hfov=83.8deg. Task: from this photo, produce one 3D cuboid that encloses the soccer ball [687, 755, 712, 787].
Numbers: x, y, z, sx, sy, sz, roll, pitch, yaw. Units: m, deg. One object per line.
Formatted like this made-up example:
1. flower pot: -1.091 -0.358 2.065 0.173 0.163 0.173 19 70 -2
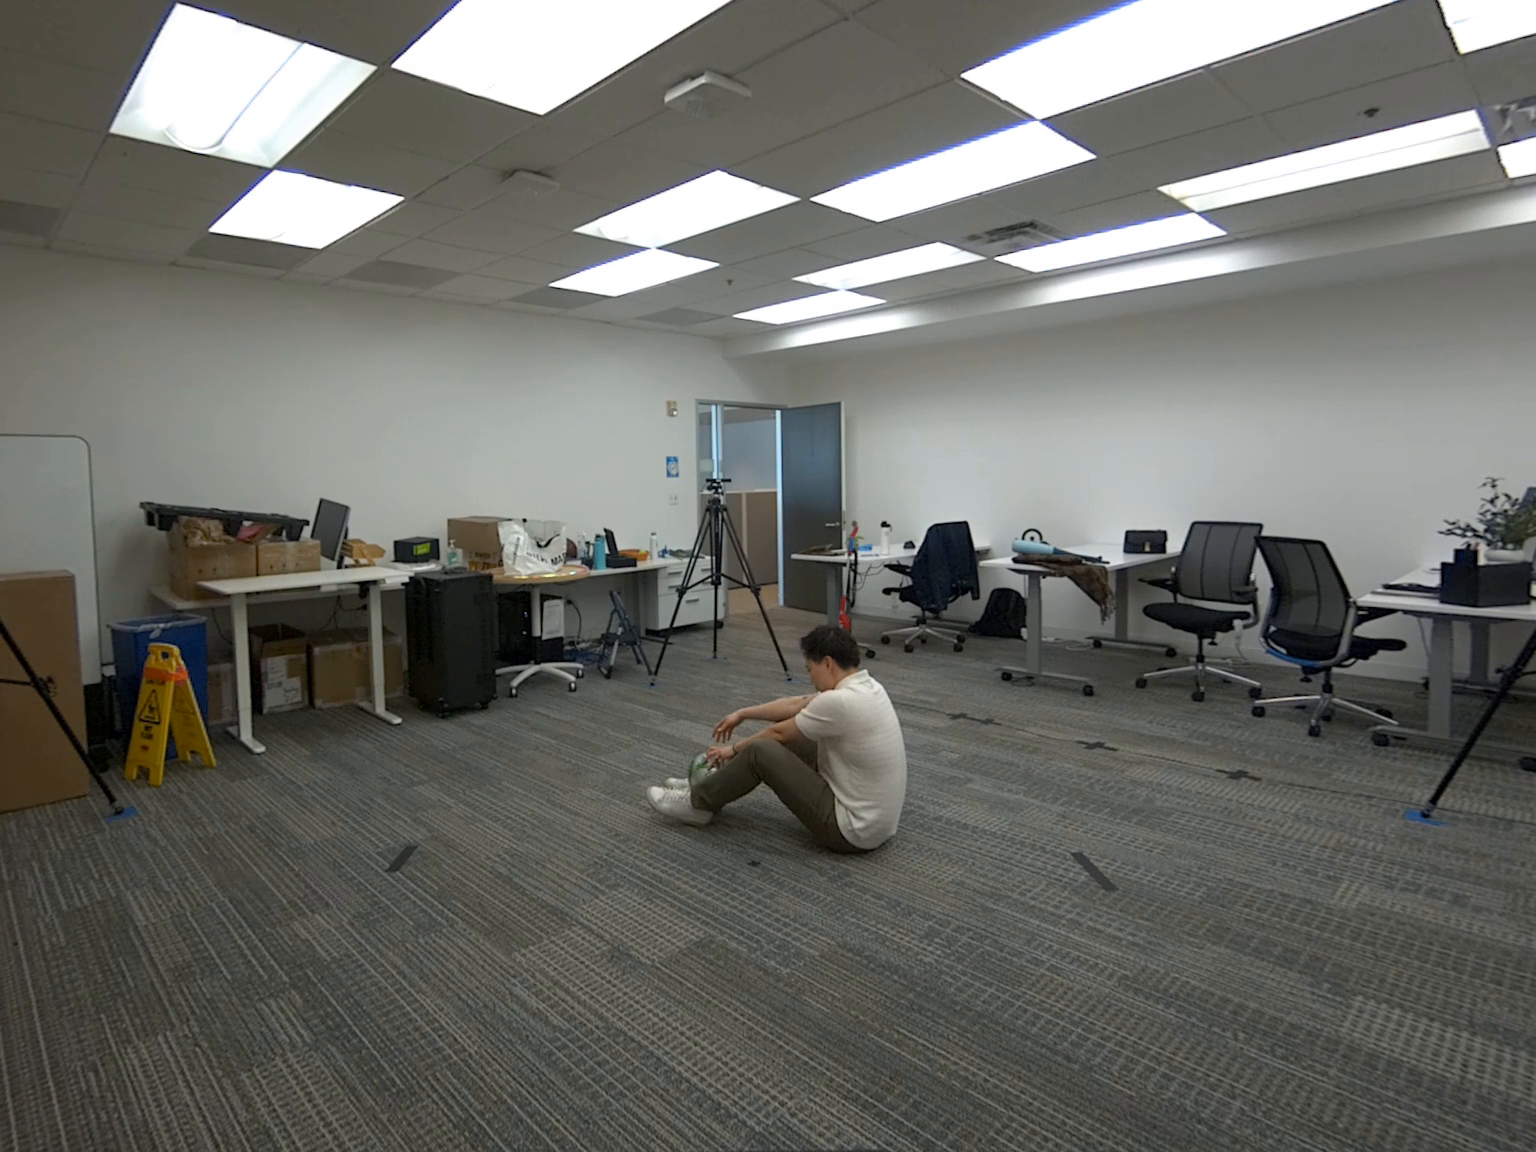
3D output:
1. soccer ball: -0.227 0.822 3.539 0.187 0.187 0.188 -1 5 -2
